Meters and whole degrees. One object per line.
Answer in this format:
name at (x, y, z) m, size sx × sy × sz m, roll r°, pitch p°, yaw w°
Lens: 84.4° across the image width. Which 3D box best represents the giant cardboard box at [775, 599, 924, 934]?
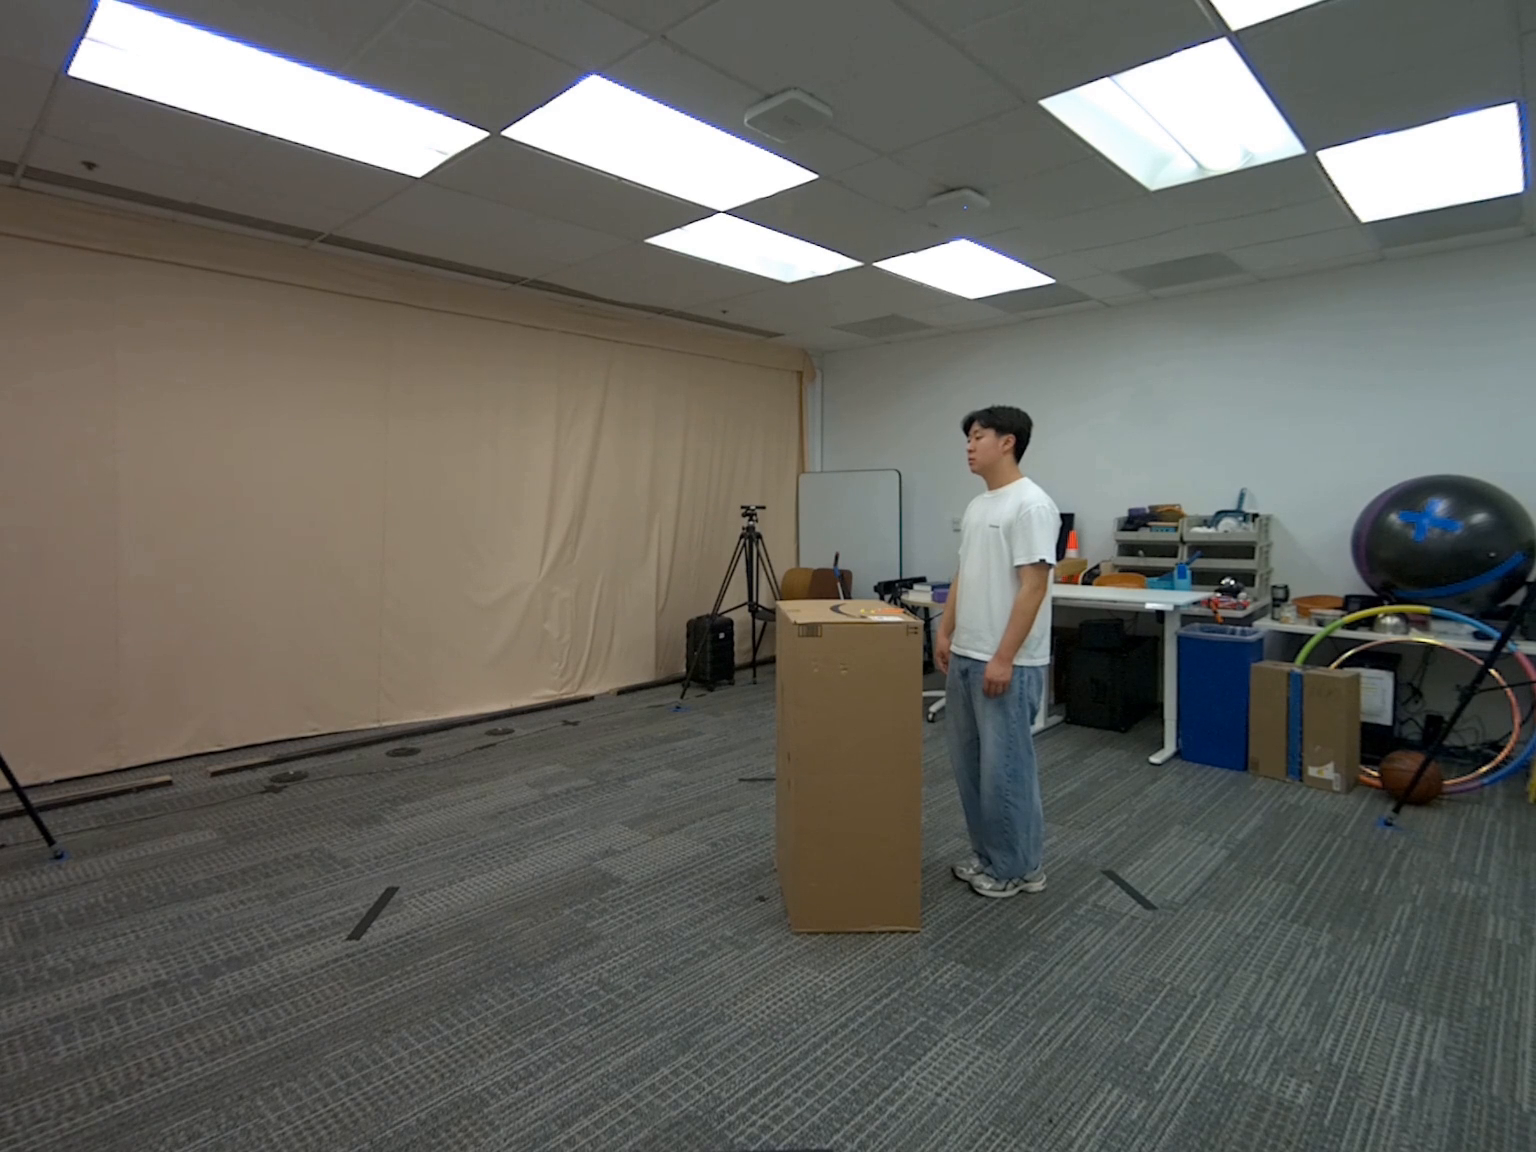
giant cardboard box at (0.272, 0.635, 2.997) m, size 0.425 × 1.024 × 0.581 m, roll 0°, pitch 3°, yaw -5°
